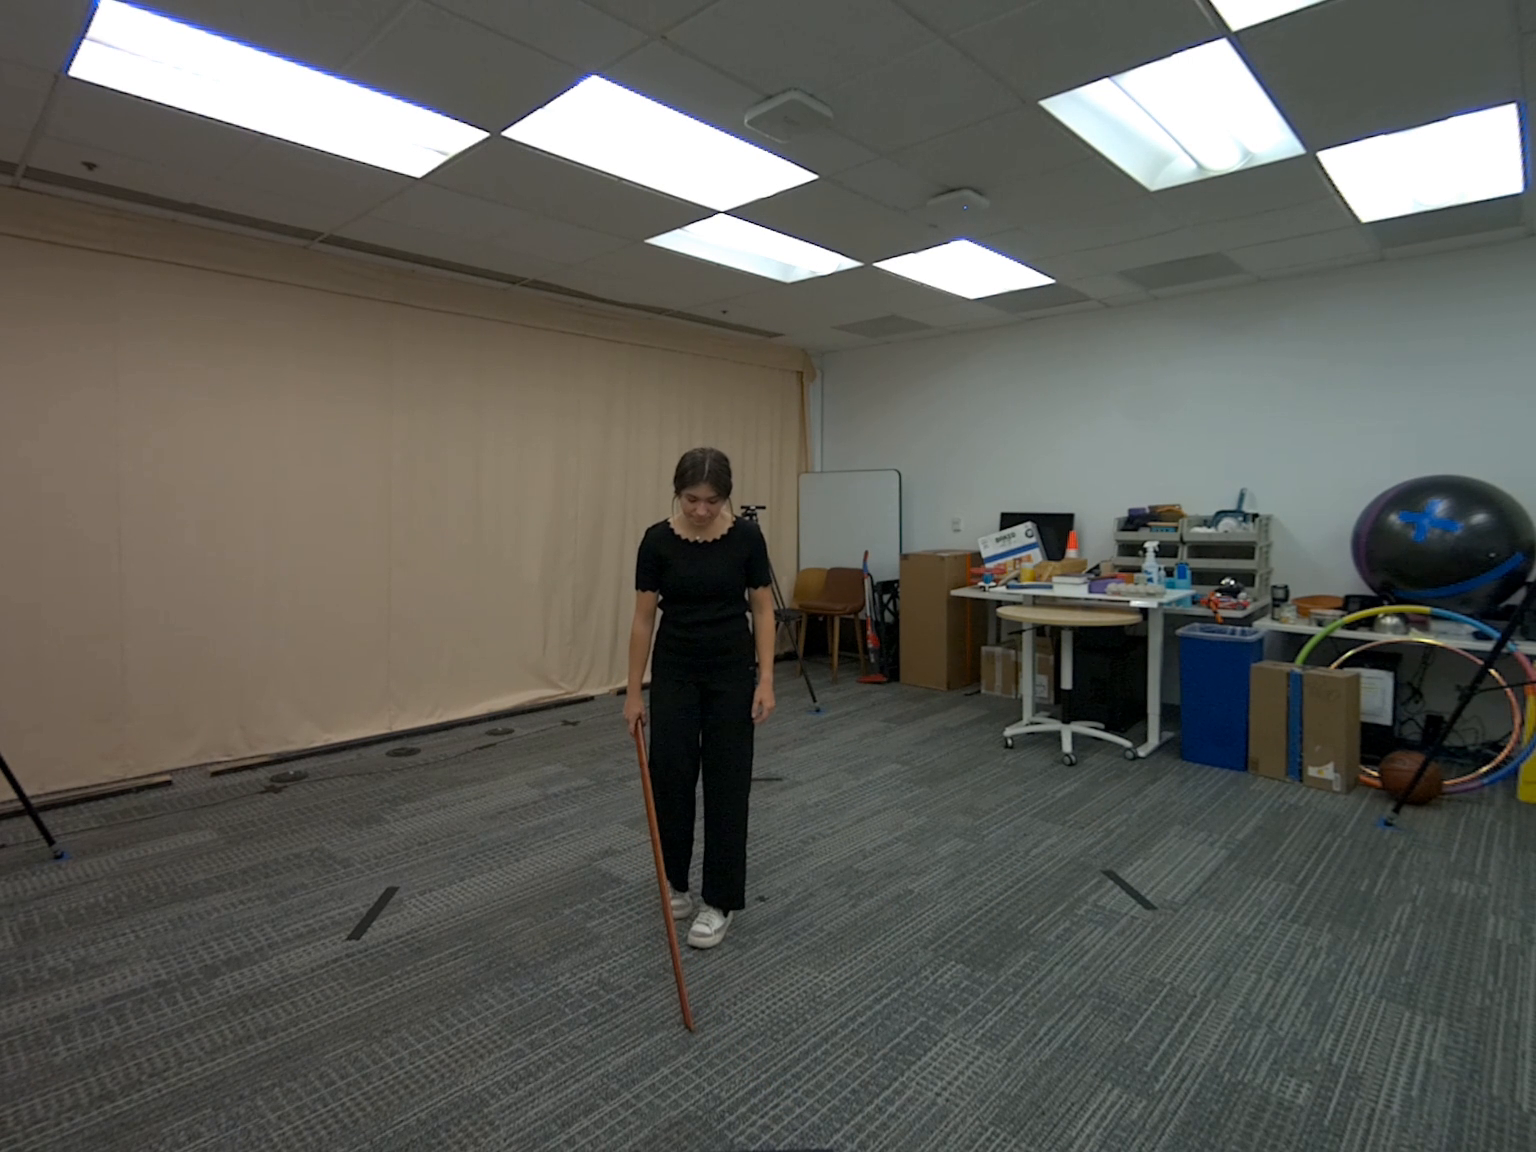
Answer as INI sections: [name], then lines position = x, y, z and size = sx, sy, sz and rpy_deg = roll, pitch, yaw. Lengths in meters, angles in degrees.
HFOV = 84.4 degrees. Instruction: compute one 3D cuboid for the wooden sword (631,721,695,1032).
[wooden sword]
position = -0.323, 0.802, 2.544
size = 0.024, 1.052, 0.050
rpy_deg = -18, -35, -2
